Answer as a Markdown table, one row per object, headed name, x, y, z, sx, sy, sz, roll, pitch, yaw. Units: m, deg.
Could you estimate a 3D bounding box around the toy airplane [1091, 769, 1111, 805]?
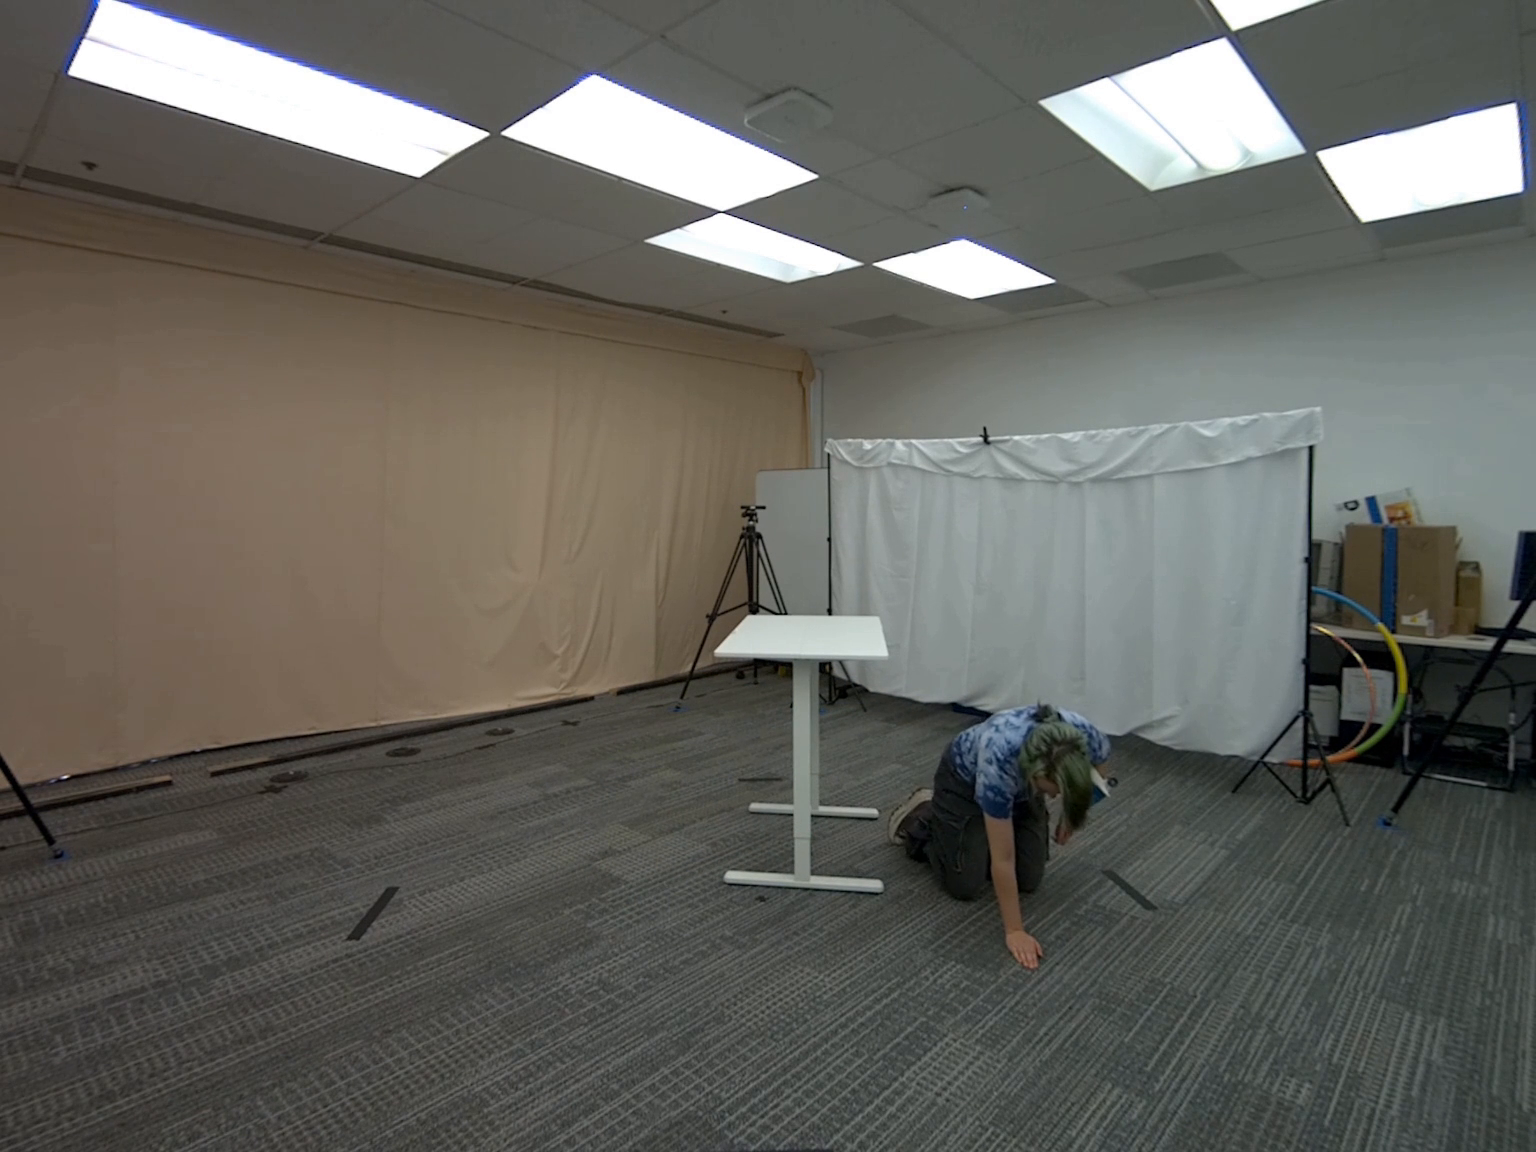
| name | x | y | z | sx | sy | sz | roll | pitch | yaw |
| --- | --- | --- | --- | --- | --- | --- | --- | --- | --- |
| toy airplane | 1.092 | 0.654 | 2.904 | 0.157 | 0.267 | 0.242 | -30 | -44 | 9 |
